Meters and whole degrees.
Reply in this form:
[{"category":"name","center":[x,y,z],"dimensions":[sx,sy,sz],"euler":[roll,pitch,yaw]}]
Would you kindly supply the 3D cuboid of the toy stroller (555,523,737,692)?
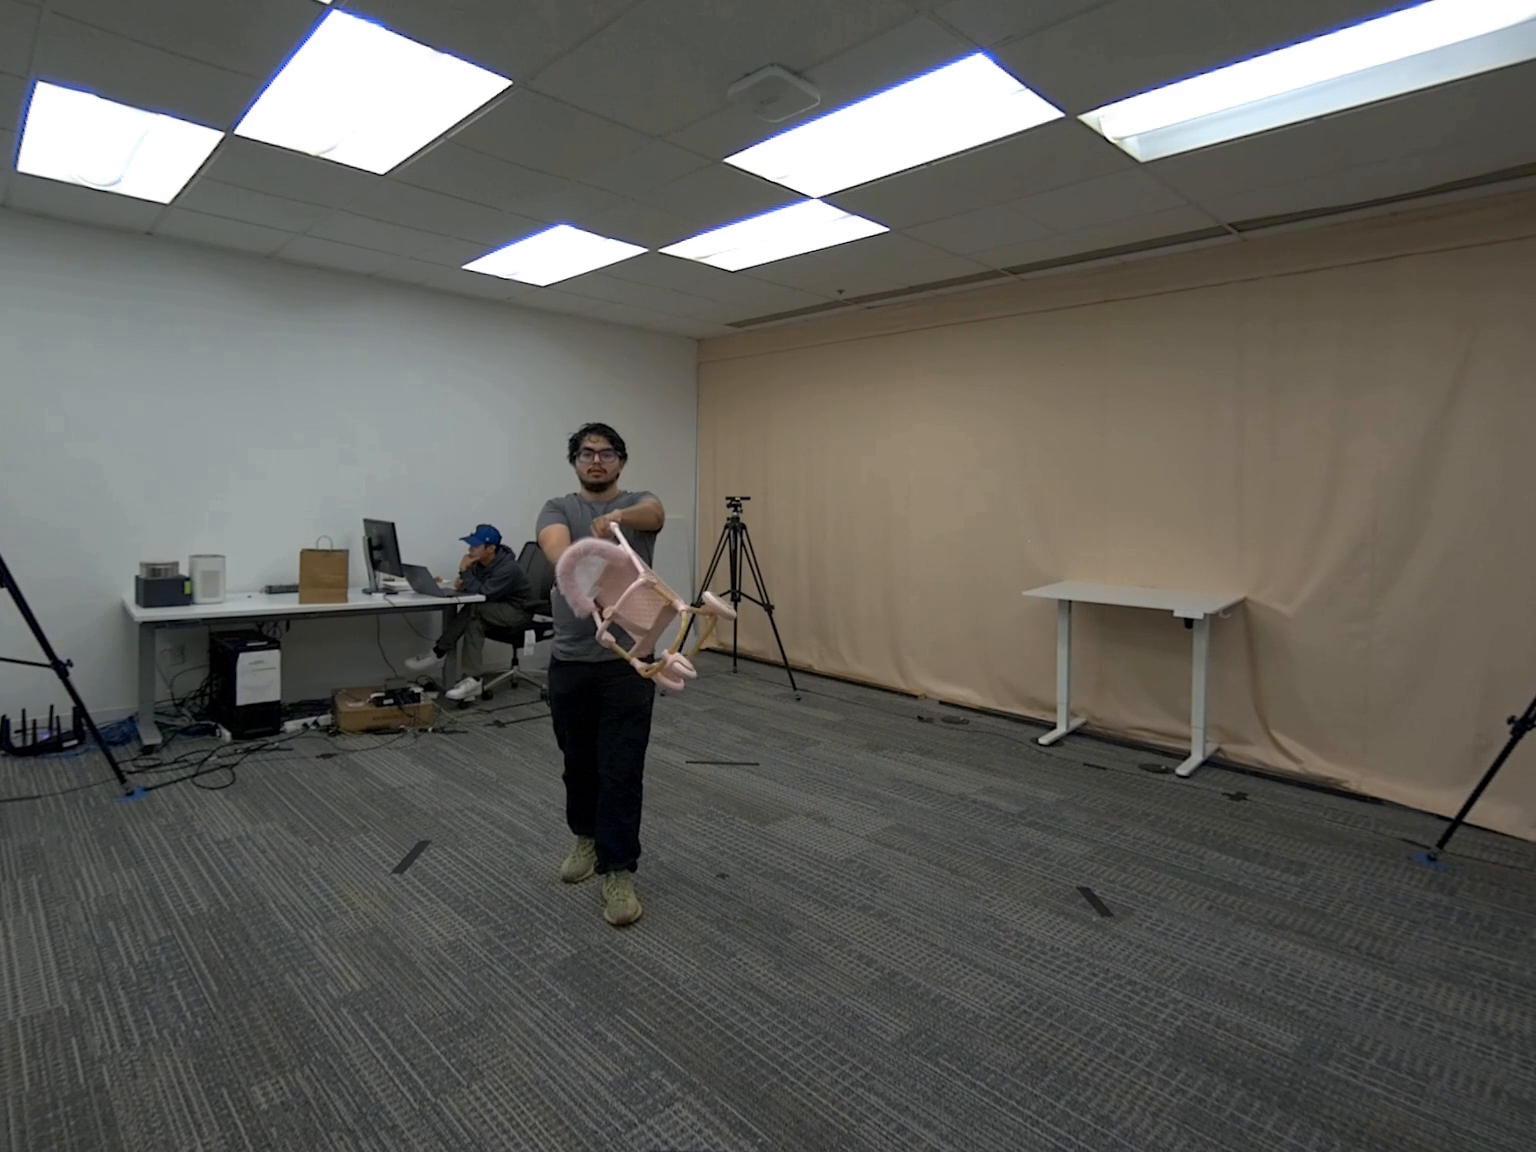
[{"category":"toy stroller","center":[-0.355,0.090,2.214],"dimensions":[0.543,0.281,0.337],"euler":[41,14,13]}]
